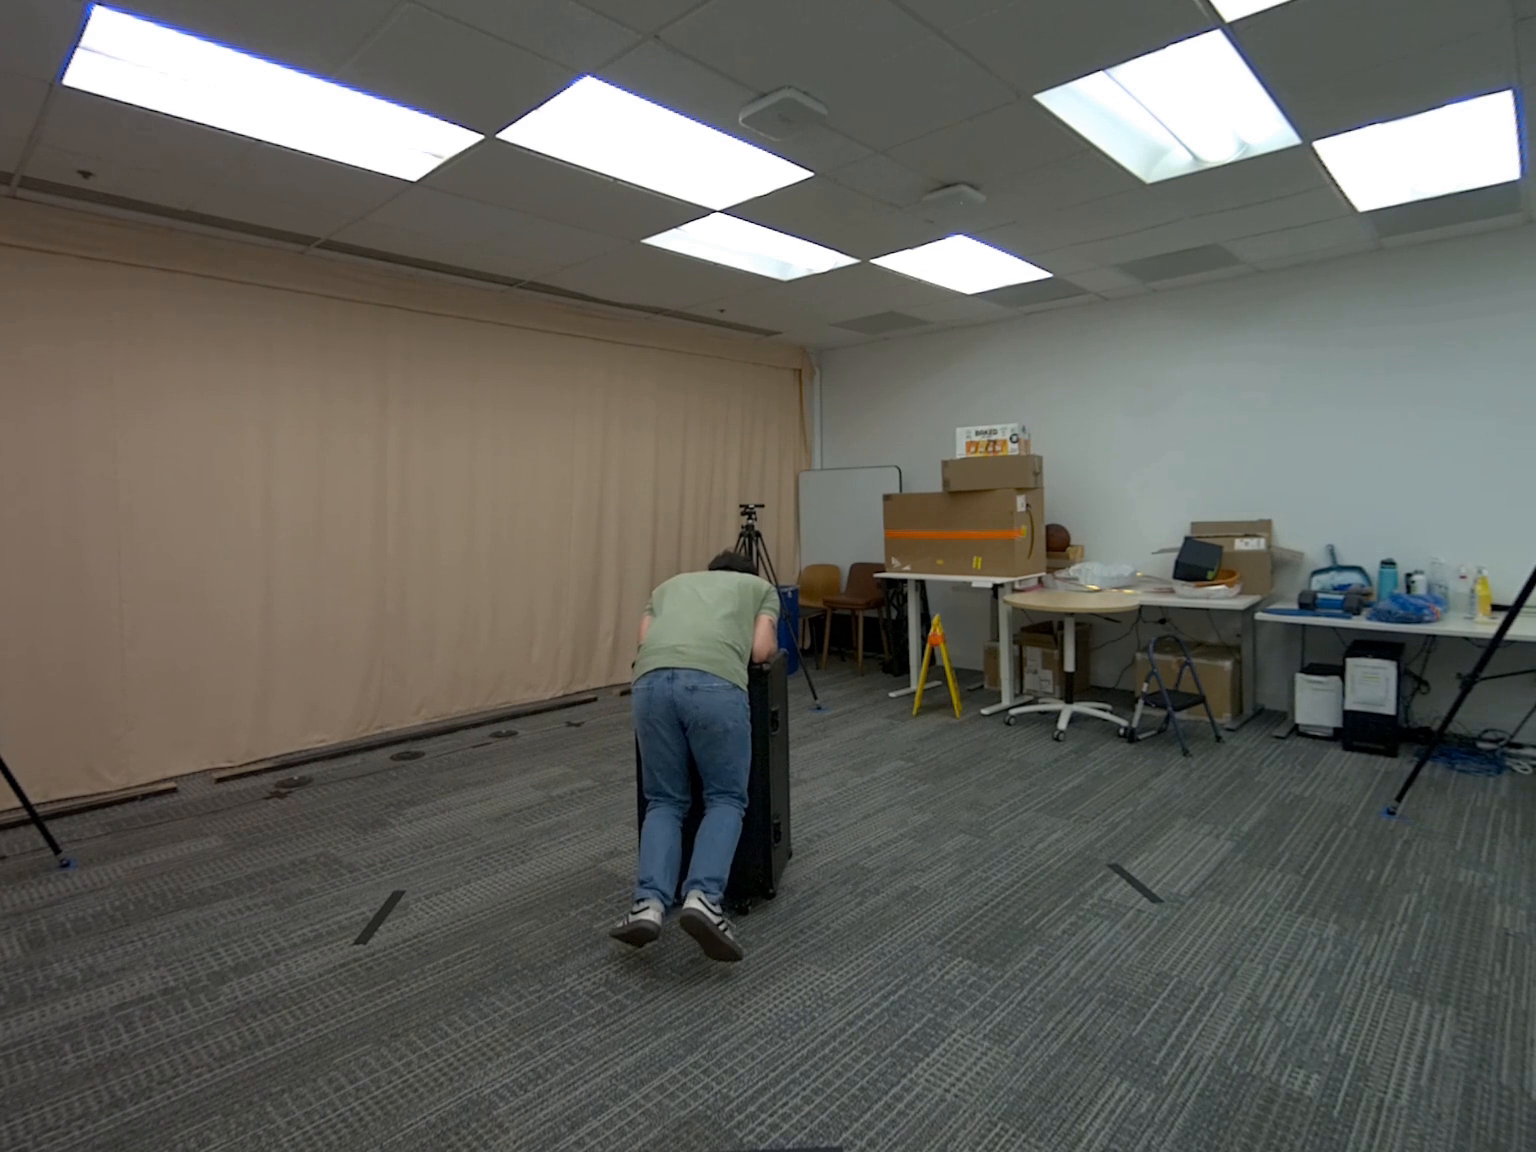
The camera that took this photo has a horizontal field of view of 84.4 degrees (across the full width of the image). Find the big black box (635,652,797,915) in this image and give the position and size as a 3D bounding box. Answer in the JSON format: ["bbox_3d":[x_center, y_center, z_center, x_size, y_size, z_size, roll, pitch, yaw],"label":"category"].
[{"bbox_3d":[-0.188,0.723,3.049,0.530,0.860,0.390,0,2,14],"label":"big black box"}]
